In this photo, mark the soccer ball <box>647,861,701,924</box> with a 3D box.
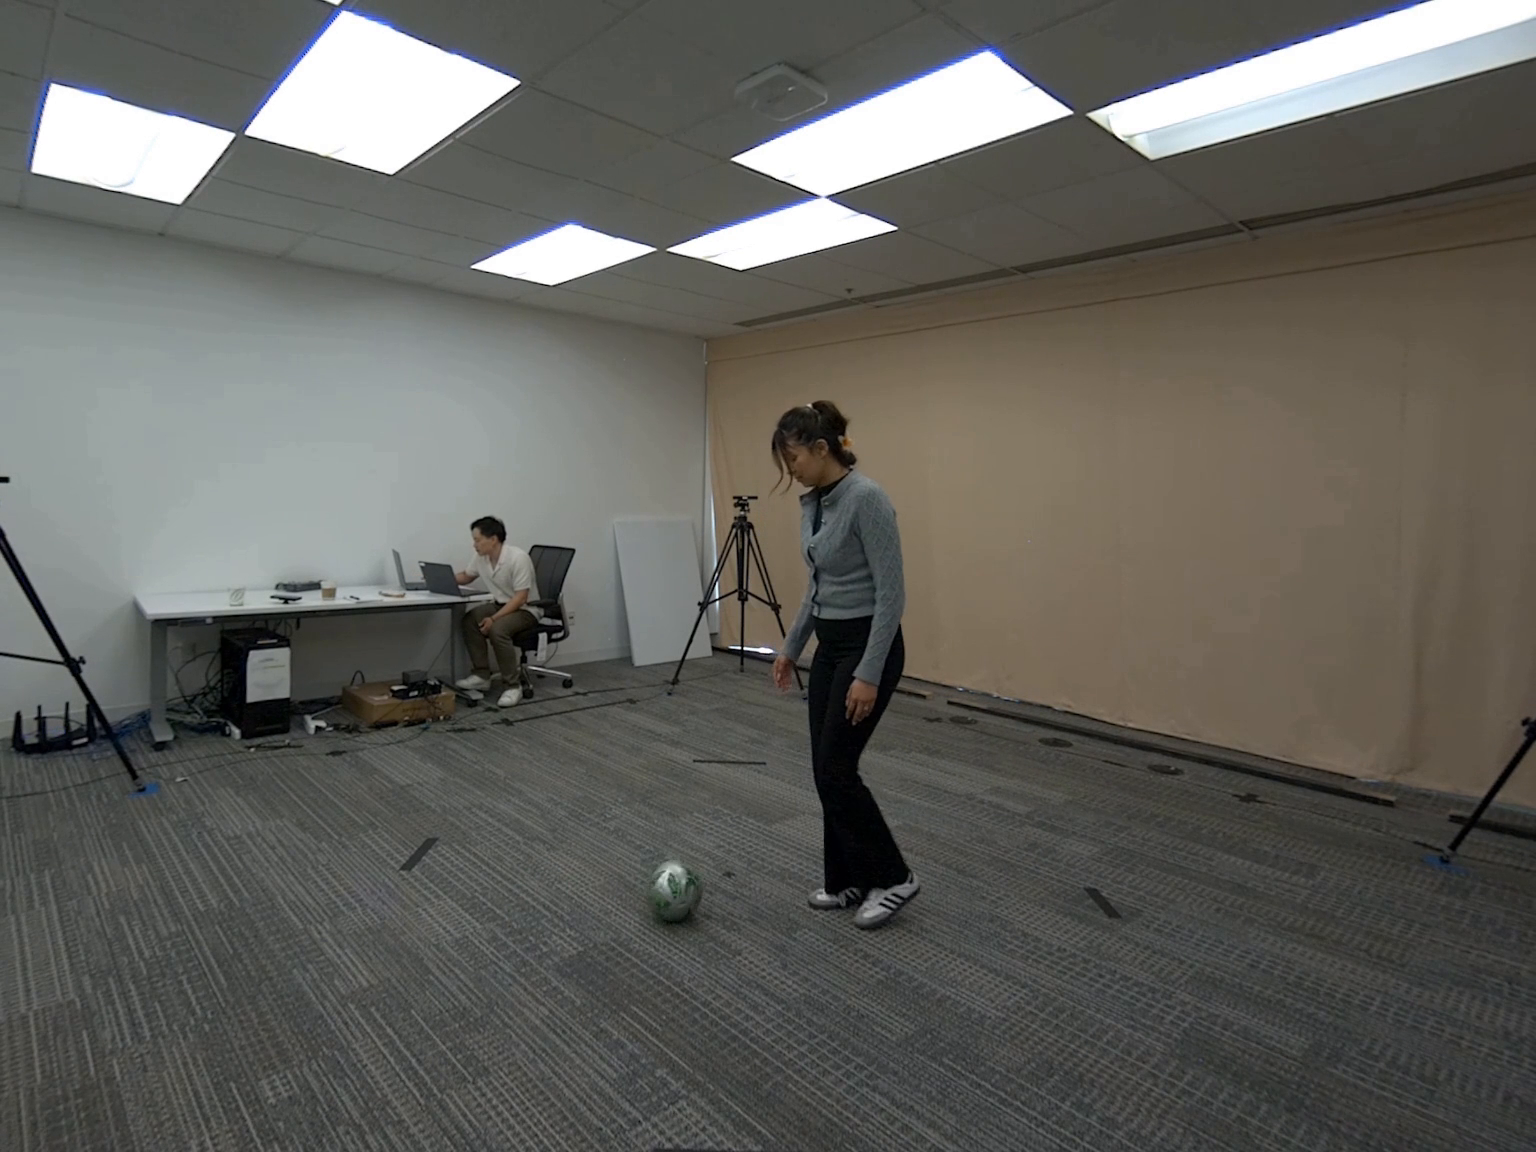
[{"bbox_3d":[-0.316,1.027,2.772,0.187,0.187,0.188,1,4,-1],"label":"soccer ball"}]
